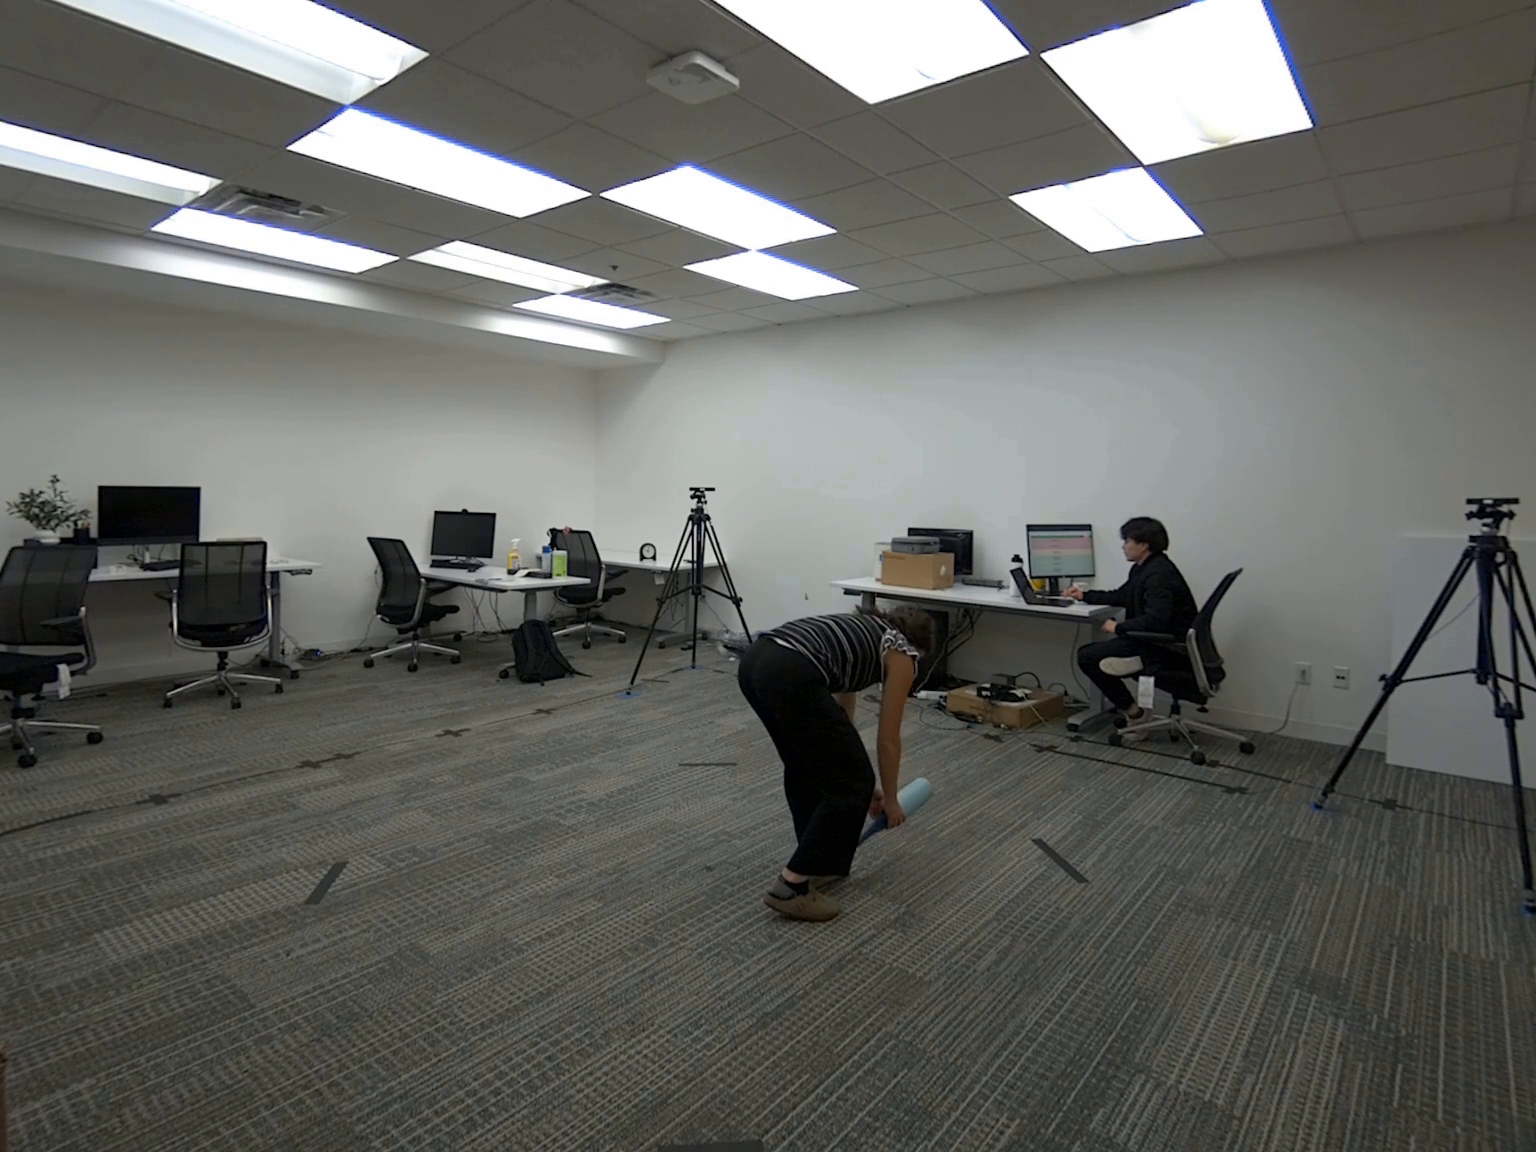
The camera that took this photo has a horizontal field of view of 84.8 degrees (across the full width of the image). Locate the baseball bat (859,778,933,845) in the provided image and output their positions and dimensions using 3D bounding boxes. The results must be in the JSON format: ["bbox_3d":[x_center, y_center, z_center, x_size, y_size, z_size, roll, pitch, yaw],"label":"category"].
[{"bbox_3d":[0.419,0.874,3.069,0.092,0.088,0.532,5,19,44],"label":"baseball bat"}]
